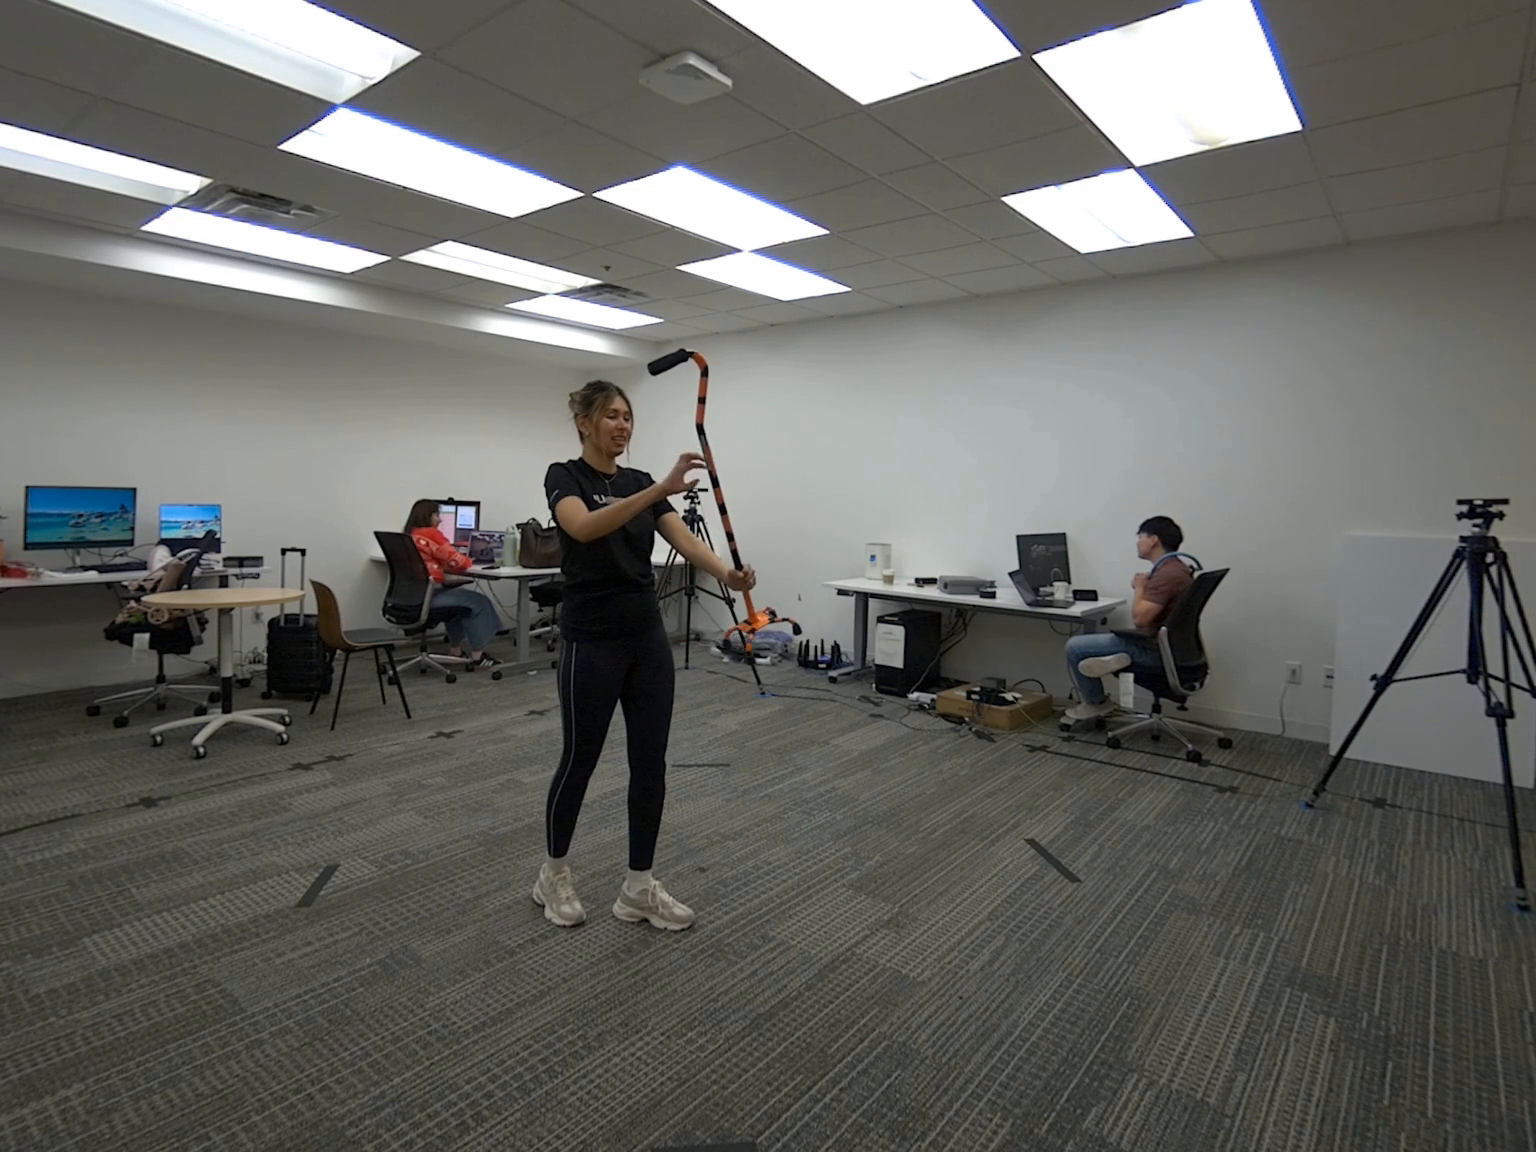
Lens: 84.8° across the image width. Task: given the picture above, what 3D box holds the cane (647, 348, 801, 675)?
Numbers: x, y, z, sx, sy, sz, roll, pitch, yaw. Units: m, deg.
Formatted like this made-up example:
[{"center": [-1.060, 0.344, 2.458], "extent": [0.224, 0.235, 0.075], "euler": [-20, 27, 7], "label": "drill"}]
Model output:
[{"center": [-0.126, -0.192, 2.340], "extent": [0.204, 0.883, 0.157], "euler": [-27, 28, -23], "label": "cane"}]
